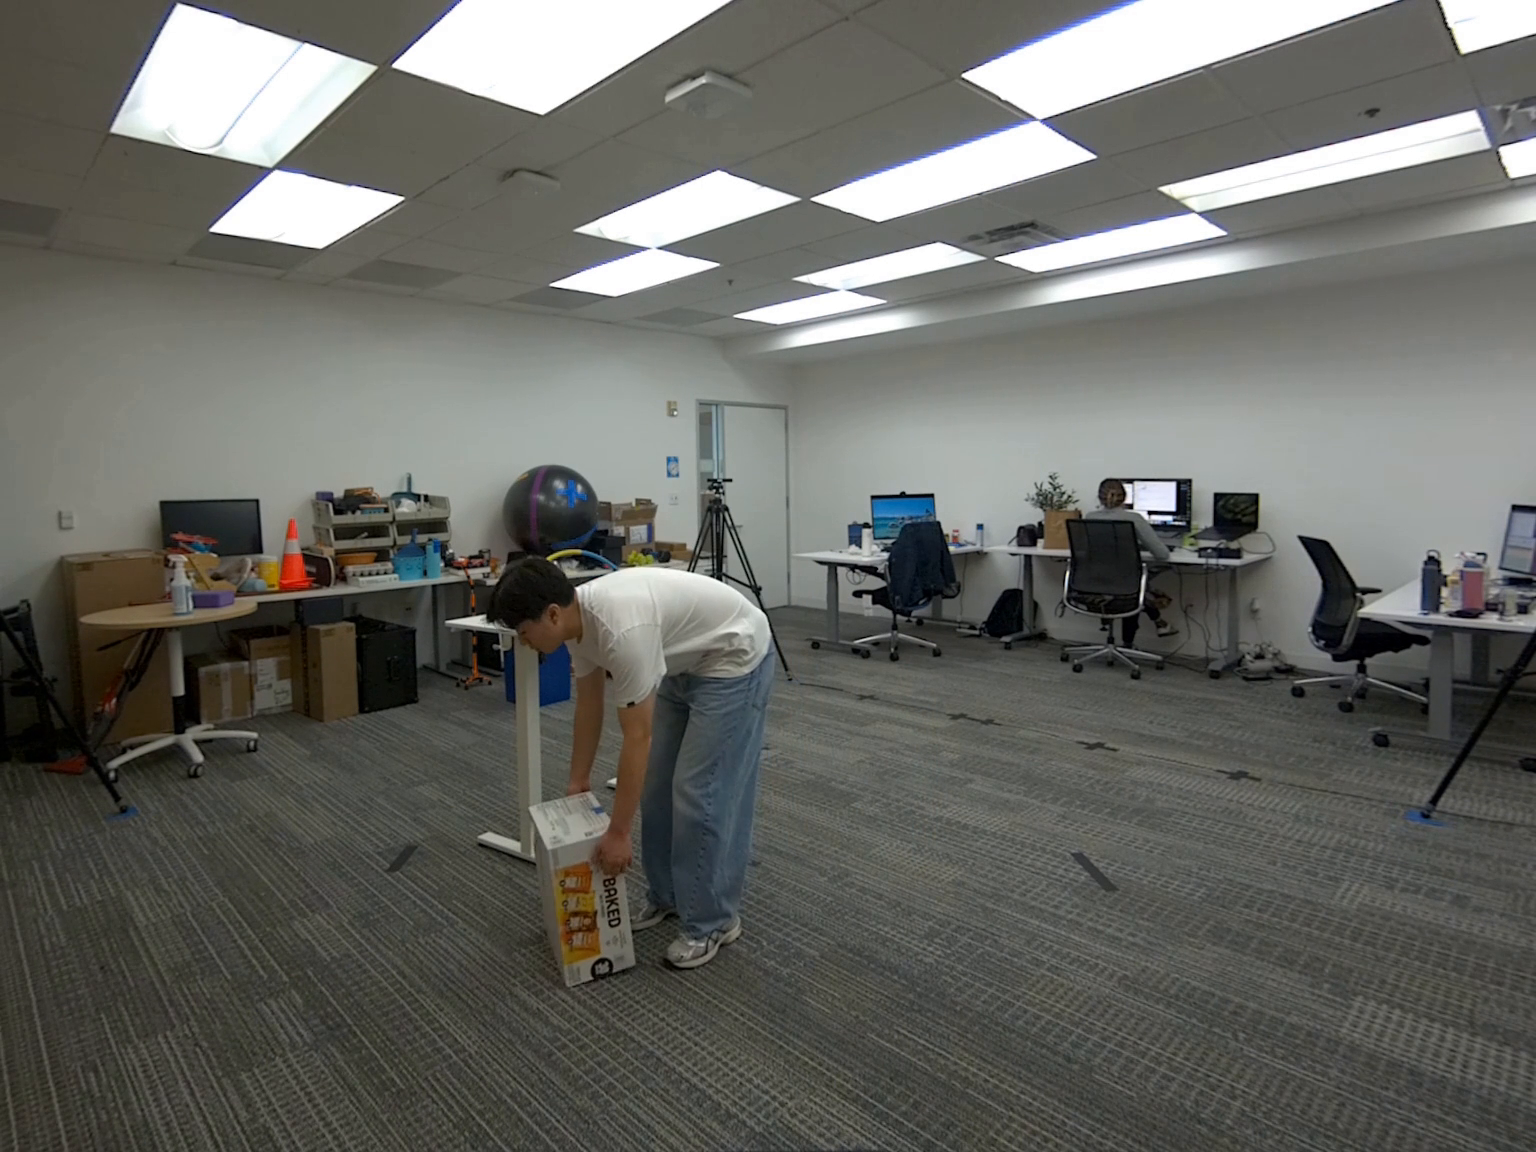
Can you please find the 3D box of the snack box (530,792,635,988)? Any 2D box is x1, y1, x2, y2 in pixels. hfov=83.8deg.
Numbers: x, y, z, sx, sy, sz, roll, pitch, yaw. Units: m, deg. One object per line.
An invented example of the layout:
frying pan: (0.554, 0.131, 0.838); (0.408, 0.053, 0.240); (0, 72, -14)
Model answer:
snack box: (-0.555, 0.899, 2.526); (0.202, 0.403, 0.348); (-9, 7, -24)
